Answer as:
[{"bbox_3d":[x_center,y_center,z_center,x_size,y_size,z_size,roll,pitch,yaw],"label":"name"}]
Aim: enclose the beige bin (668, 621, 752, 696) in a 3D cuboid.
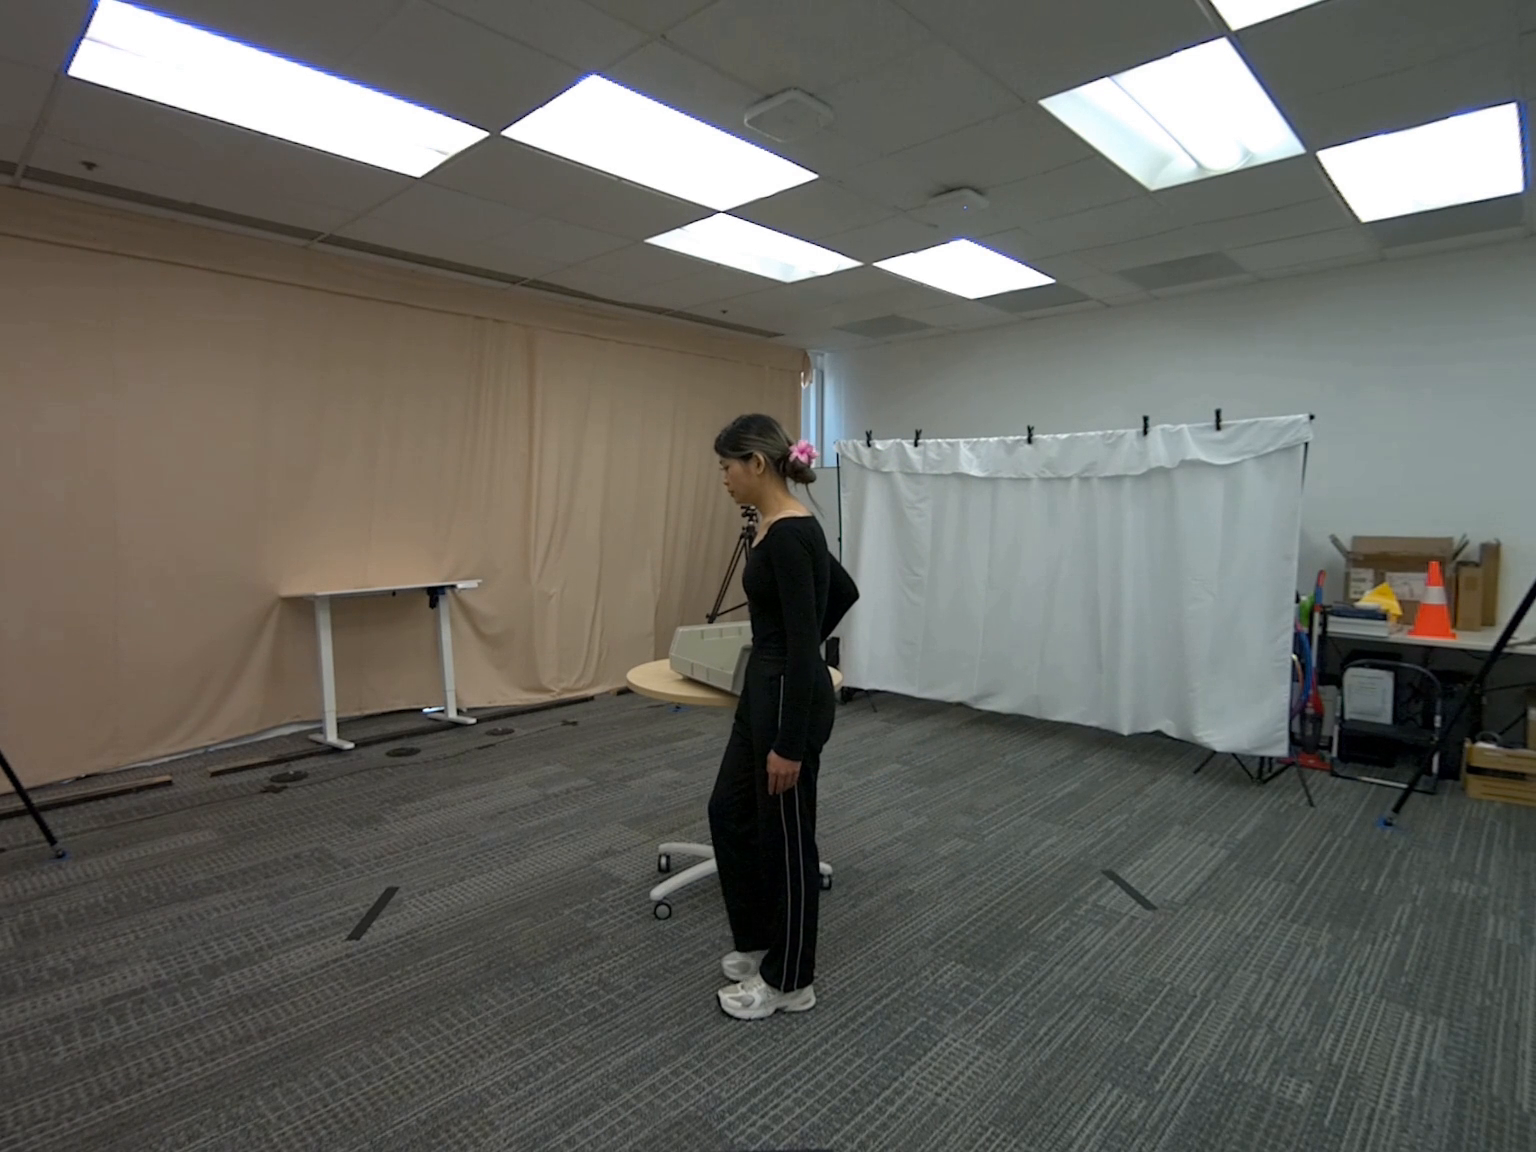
[{"bbox_3d":[-0.067,0.270,2.816,0.366,0.189,0.435,0,3,-33],"label":"beige bin"}]
